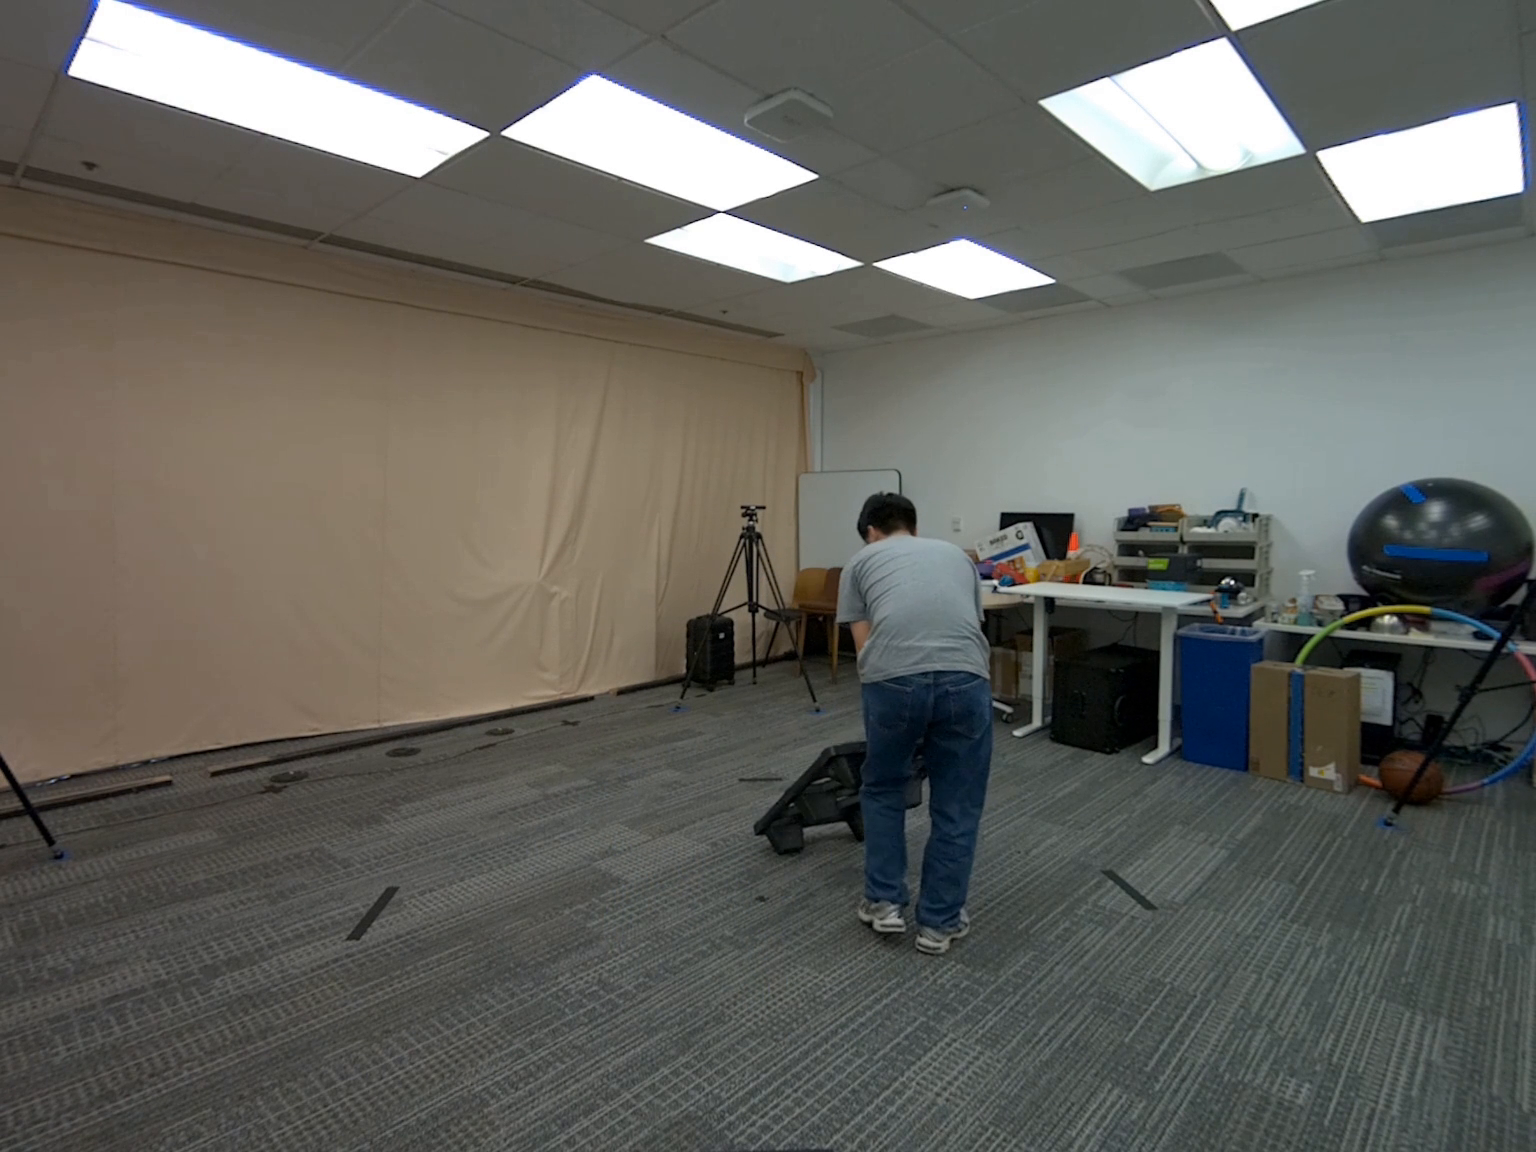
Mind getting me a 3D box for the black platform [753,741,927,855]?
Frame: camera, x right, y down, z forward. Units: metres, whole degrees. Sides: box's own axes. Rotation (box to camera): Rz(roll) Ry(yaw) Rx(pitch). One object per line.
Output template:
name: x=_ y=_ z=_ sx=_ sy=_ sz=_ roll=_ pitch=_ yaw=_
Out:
black platform: x=0.352 y=0.837 z=3.205 sx=0.591 sy=0.147 sz=0.804 roll=-2 pitch=-35 yaw=-24
